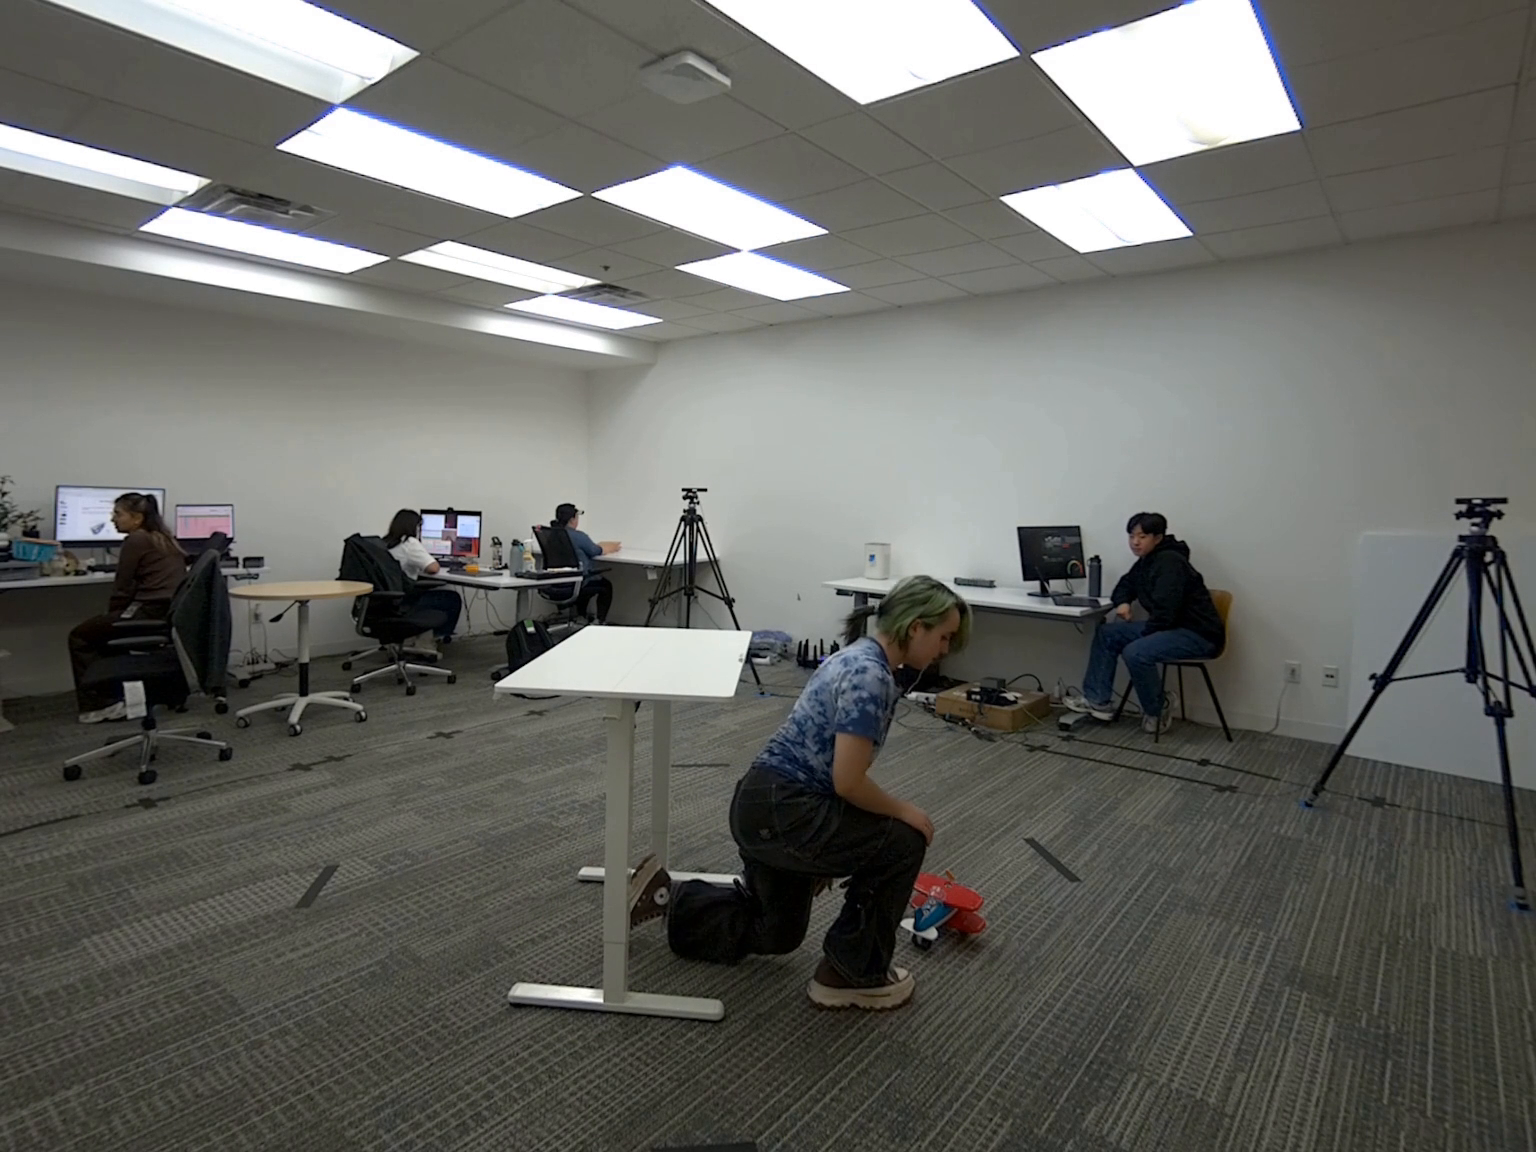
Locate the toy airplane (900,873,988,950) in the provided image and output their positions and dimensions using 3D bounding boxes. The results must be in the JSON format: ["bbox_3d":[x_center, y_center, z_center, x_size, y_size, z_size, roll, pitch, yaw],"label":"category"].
[{"bbox_3d":[0.547,1.055,2.663,0.256,0.156,0.255,3,4,18],"label":"toy airplane"}]
